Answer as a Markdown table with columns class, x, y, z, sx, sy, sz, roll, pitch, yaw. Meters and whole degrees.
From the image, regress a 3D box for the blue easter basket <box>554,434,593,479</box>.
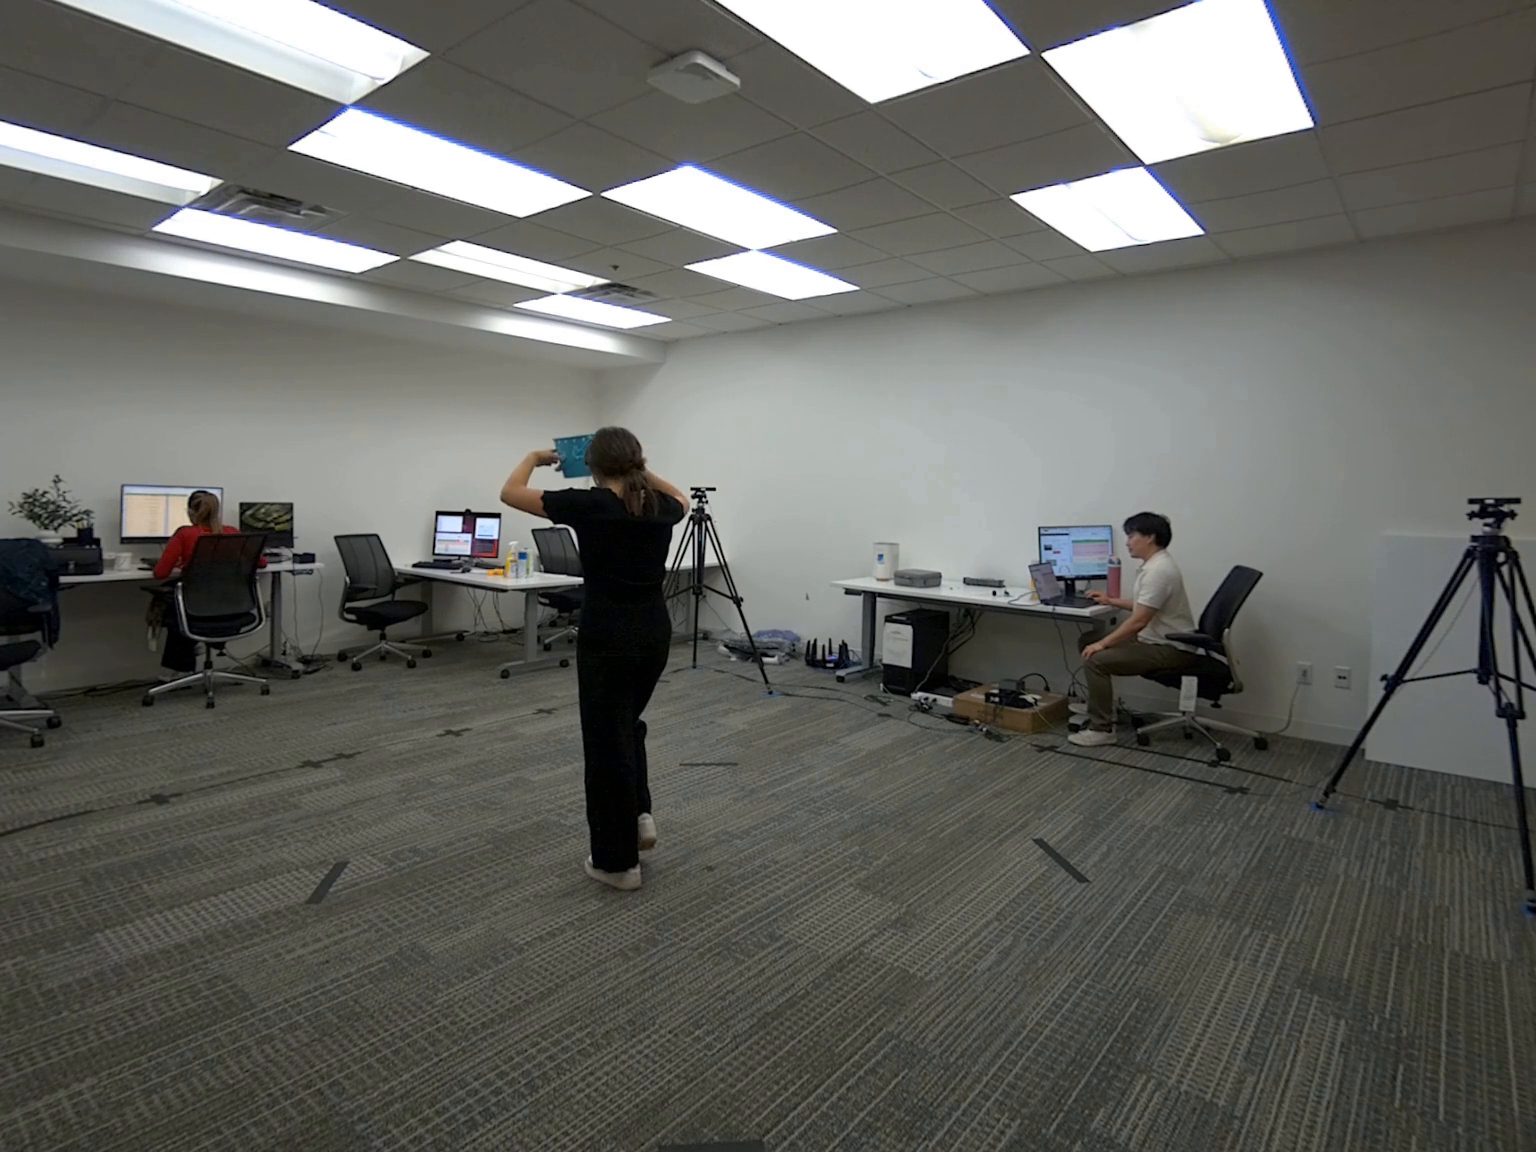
| class | x | y | z | sx | sy | sz | roll | pitch | yaw |
| --- | --- | --- | --- | --- | --- | --- | --- | --- | --- |
| blue easter basket | -0.707 | -0.449 | 3.197 | 0.243 | 0.154 | 0.246 | -5 | 9 | -1 |
